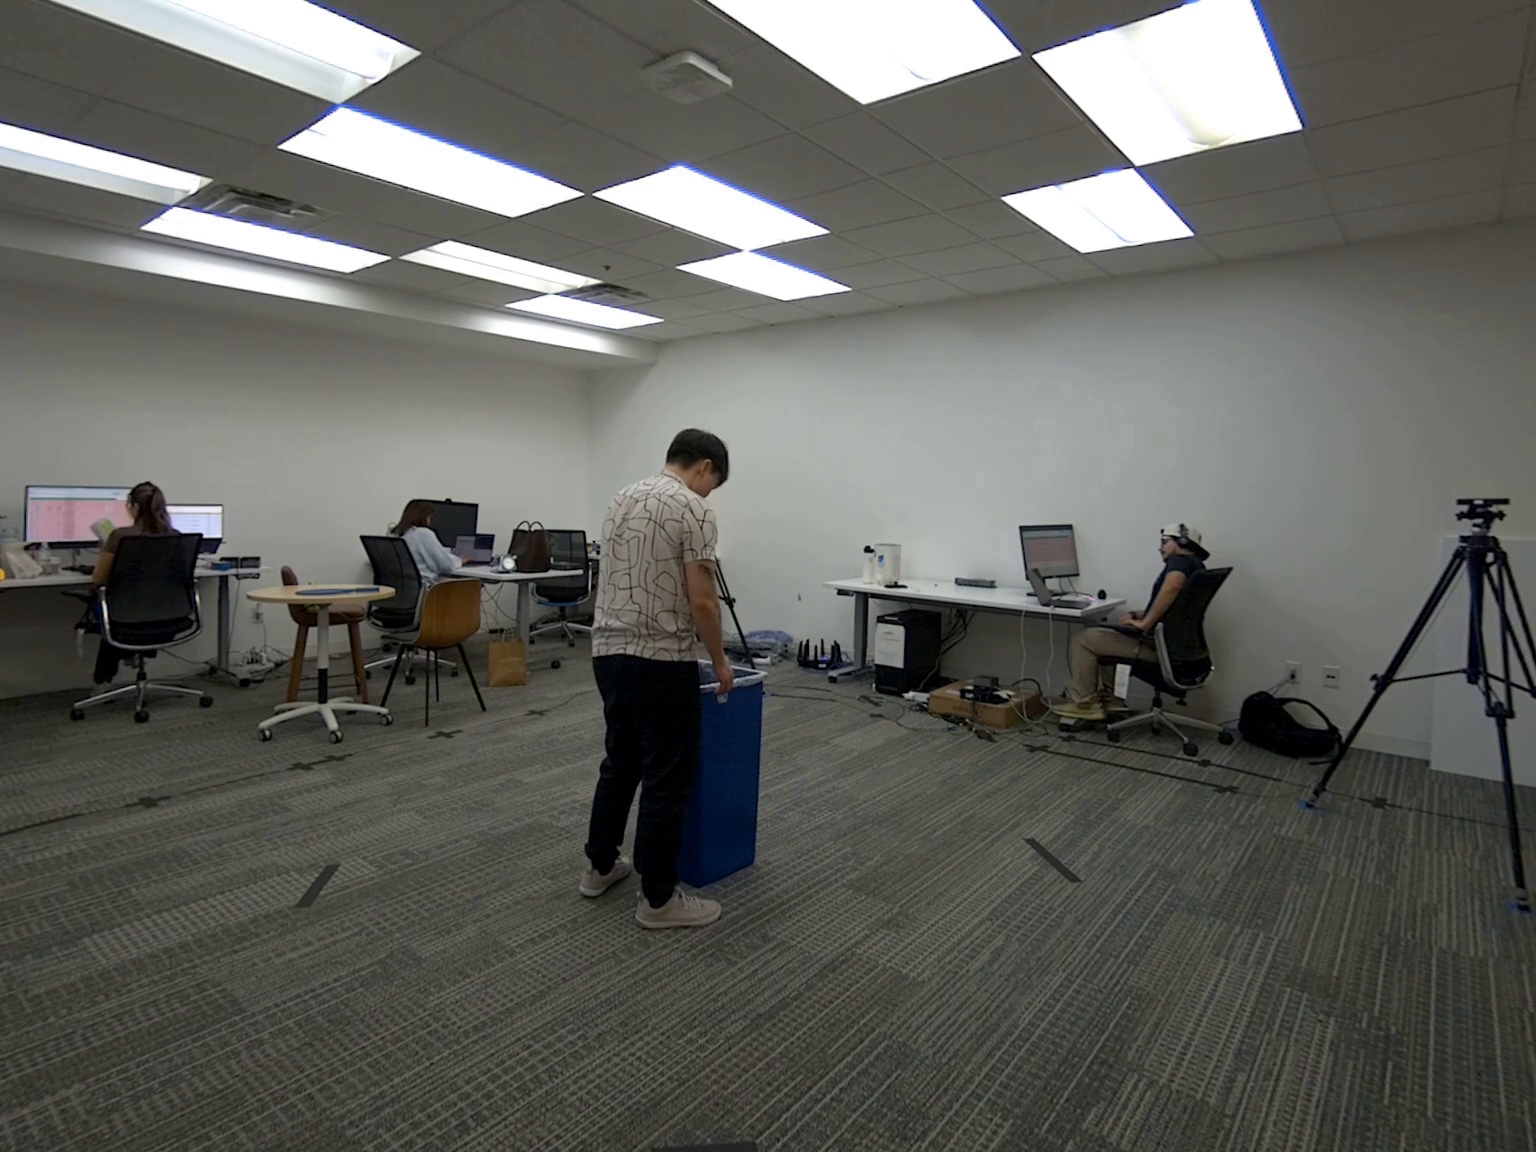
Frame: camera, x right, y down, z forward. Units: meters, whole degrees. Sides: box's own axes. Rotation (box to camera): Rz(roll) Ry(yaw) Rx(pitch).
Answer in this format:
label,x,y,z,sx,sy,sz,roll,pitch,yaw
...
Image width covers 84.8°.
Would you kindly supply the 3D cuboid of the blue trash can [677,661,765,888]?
label,x,y,z,sx,sy,sz,roll,pitch,yaw
blue trash can,-0.256,0.706,3.156,0.391,0.712,0.363,3,3,41
